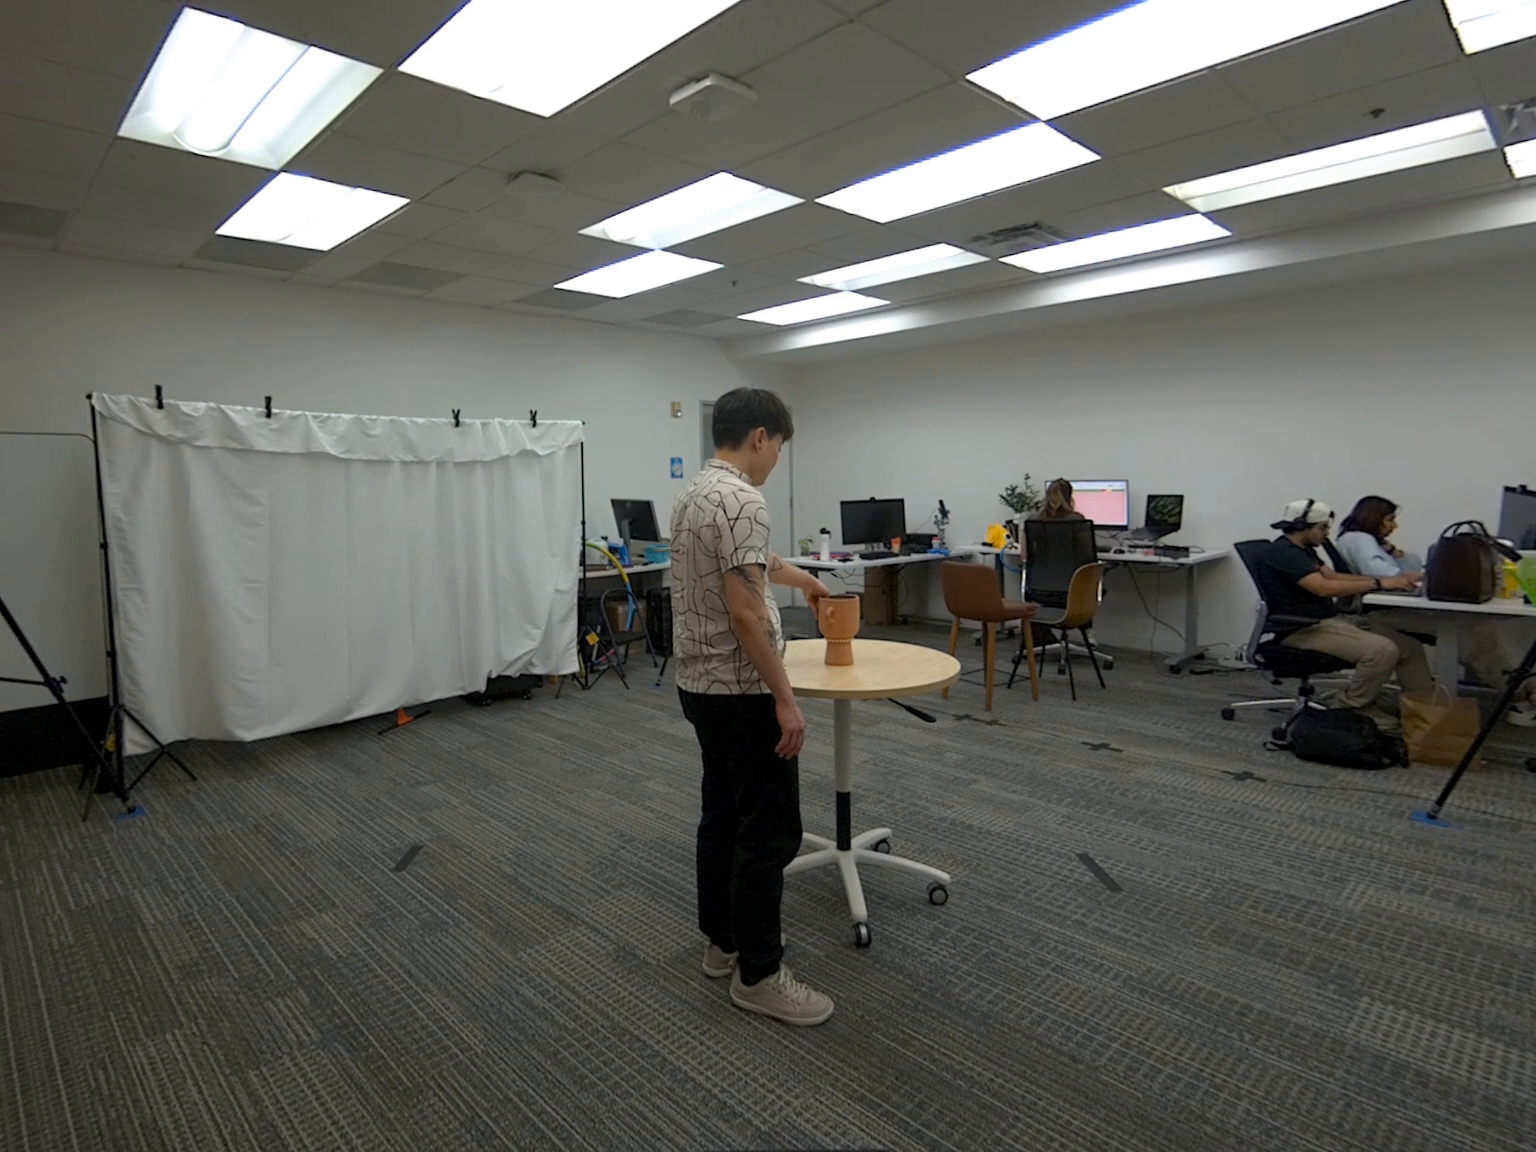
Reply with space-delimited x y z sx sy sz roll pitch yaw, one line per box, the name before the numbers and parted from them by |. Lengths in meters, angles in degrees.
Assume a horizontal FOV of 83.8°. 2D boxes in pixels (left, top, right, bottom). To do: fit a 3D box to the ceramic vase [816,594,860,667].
ceramic vase | 0.239 0.181 2.827 0.156 0.219 0.138 -4 6 -22
